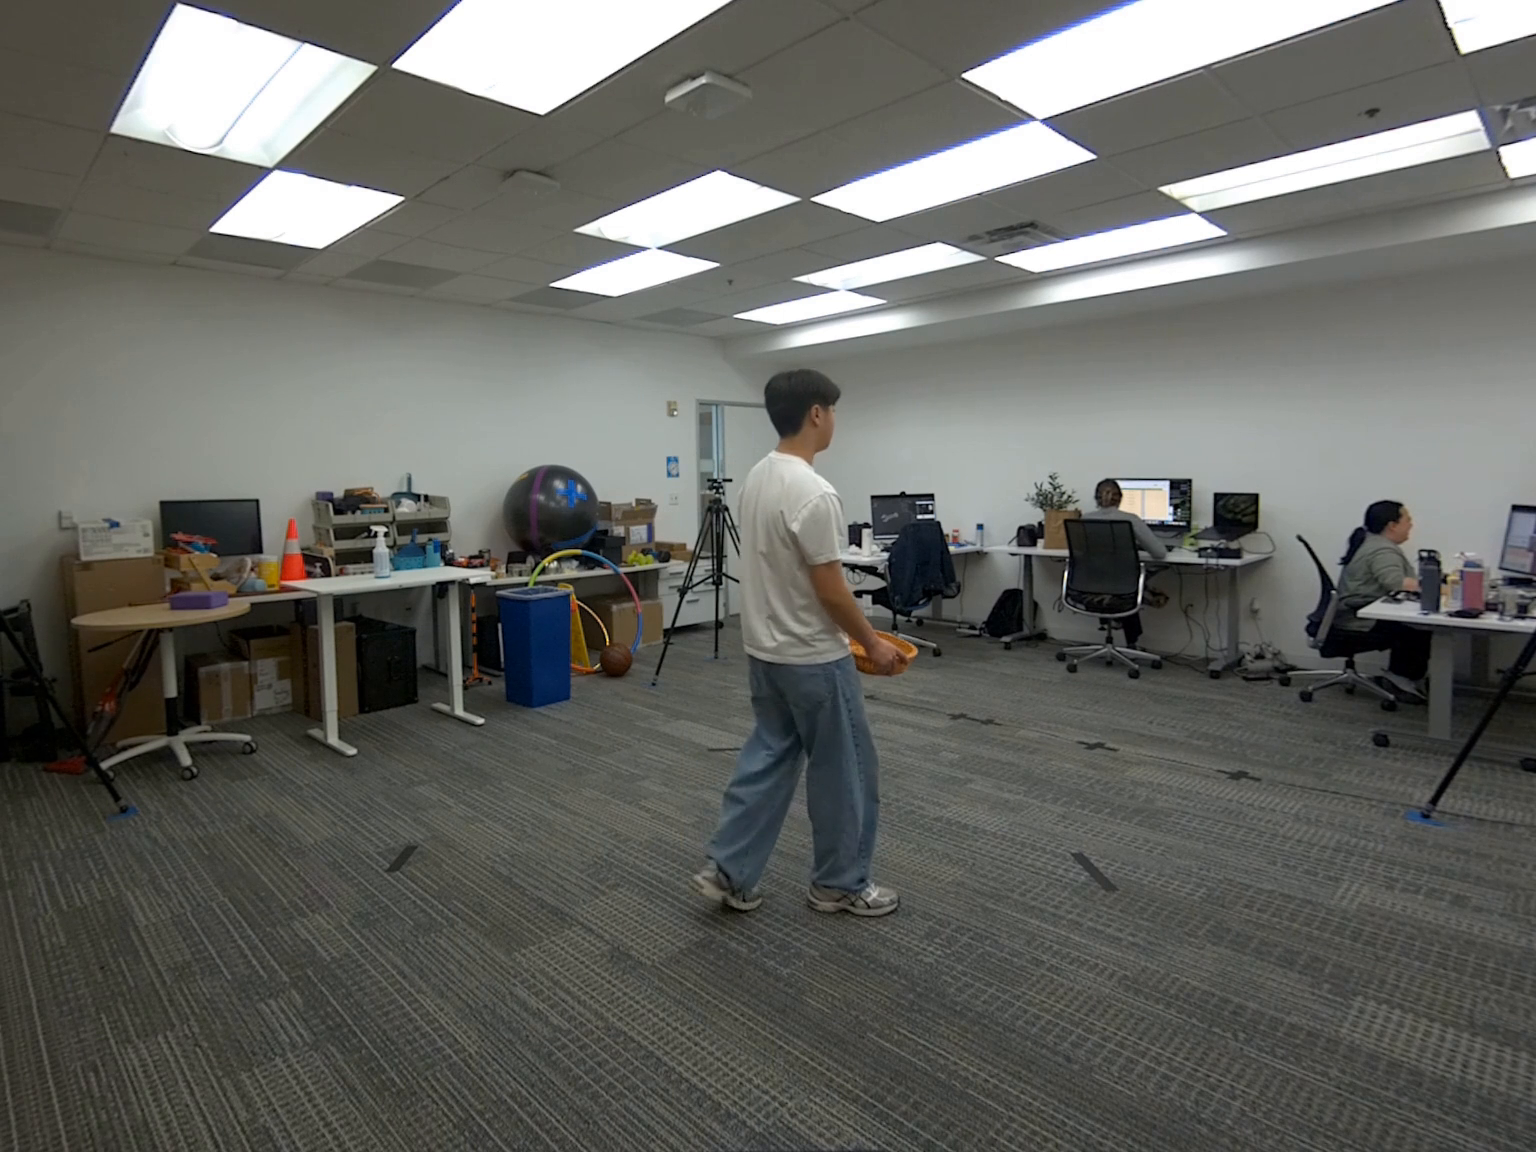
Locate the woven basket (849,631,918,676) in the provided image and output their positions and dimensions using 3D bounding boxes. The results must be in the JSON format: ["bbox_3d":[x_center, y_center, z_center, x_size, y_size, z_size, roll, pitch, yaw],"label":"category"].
[{"bbox_3d":[0.344,0.256,2.824,0.246,0.073,0.362,-5,14,-30],"label":"woven basket"}]
